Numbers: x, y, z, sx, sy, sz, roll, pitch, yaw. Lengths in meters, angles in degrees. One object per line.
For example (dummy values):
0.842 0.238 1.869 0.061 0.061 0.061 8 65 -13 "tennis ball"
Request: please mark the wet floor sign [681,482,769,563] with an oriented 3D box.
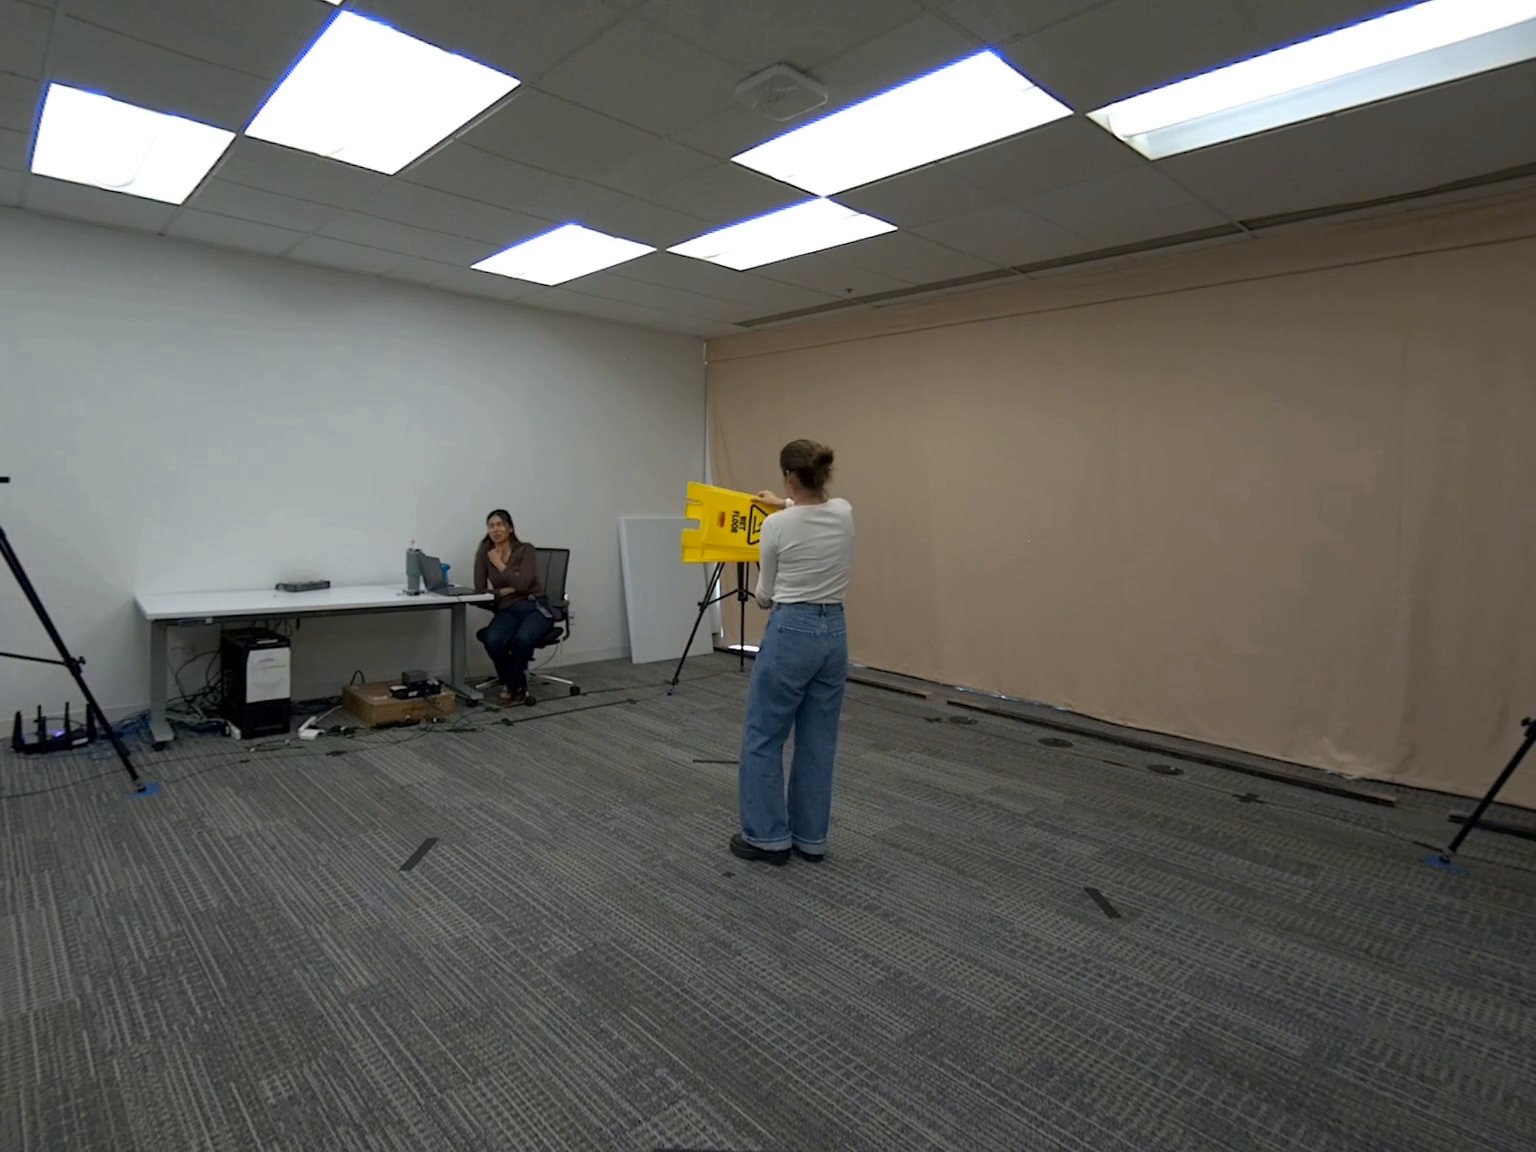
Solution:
-0.047 -0.203 3.664 0.644 0.284 0.288 6 -11 -4 "wet floor sign"
